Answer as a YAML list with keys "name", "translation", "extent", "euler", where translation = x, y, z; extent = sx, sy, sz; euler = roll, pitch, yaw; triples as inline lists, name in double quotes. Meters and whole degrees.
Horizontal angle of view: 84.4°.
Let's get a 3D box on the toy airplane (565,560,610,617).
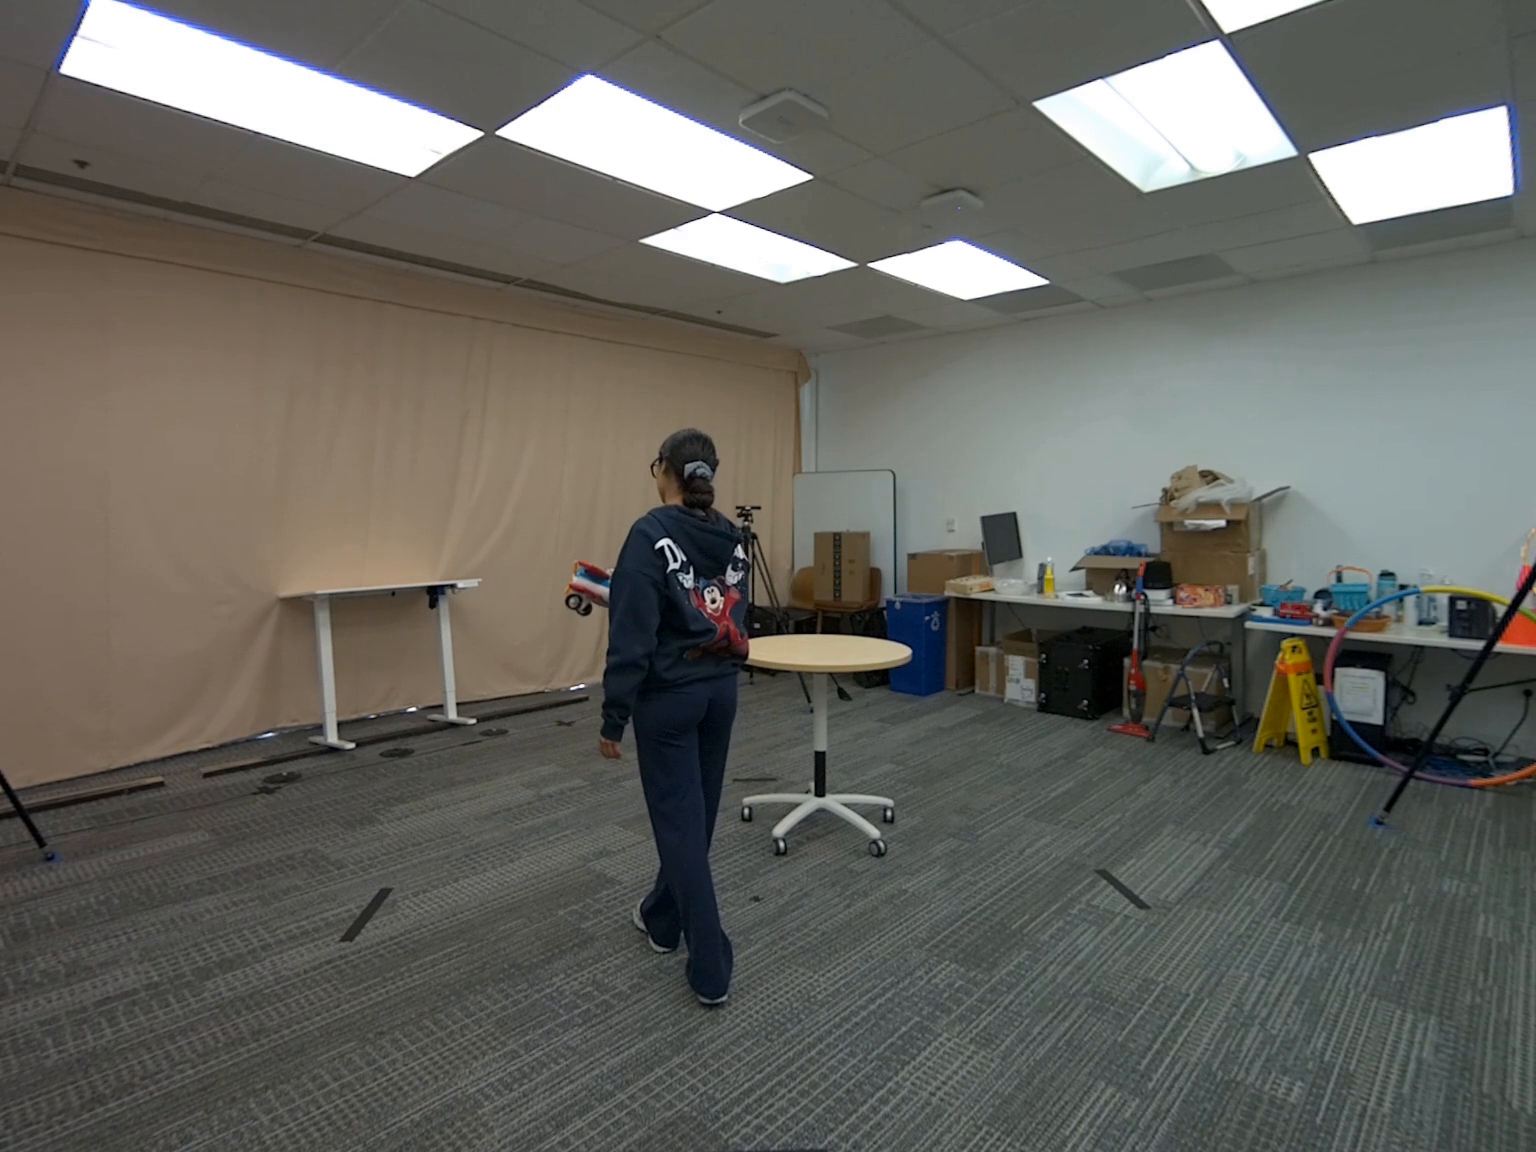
- name: "toy airplane"
  translation: [-0.523, 0.061, 2.817]
  extent: [0.256, 0.157, 0.252]
  euler: [10, -16, -12]
